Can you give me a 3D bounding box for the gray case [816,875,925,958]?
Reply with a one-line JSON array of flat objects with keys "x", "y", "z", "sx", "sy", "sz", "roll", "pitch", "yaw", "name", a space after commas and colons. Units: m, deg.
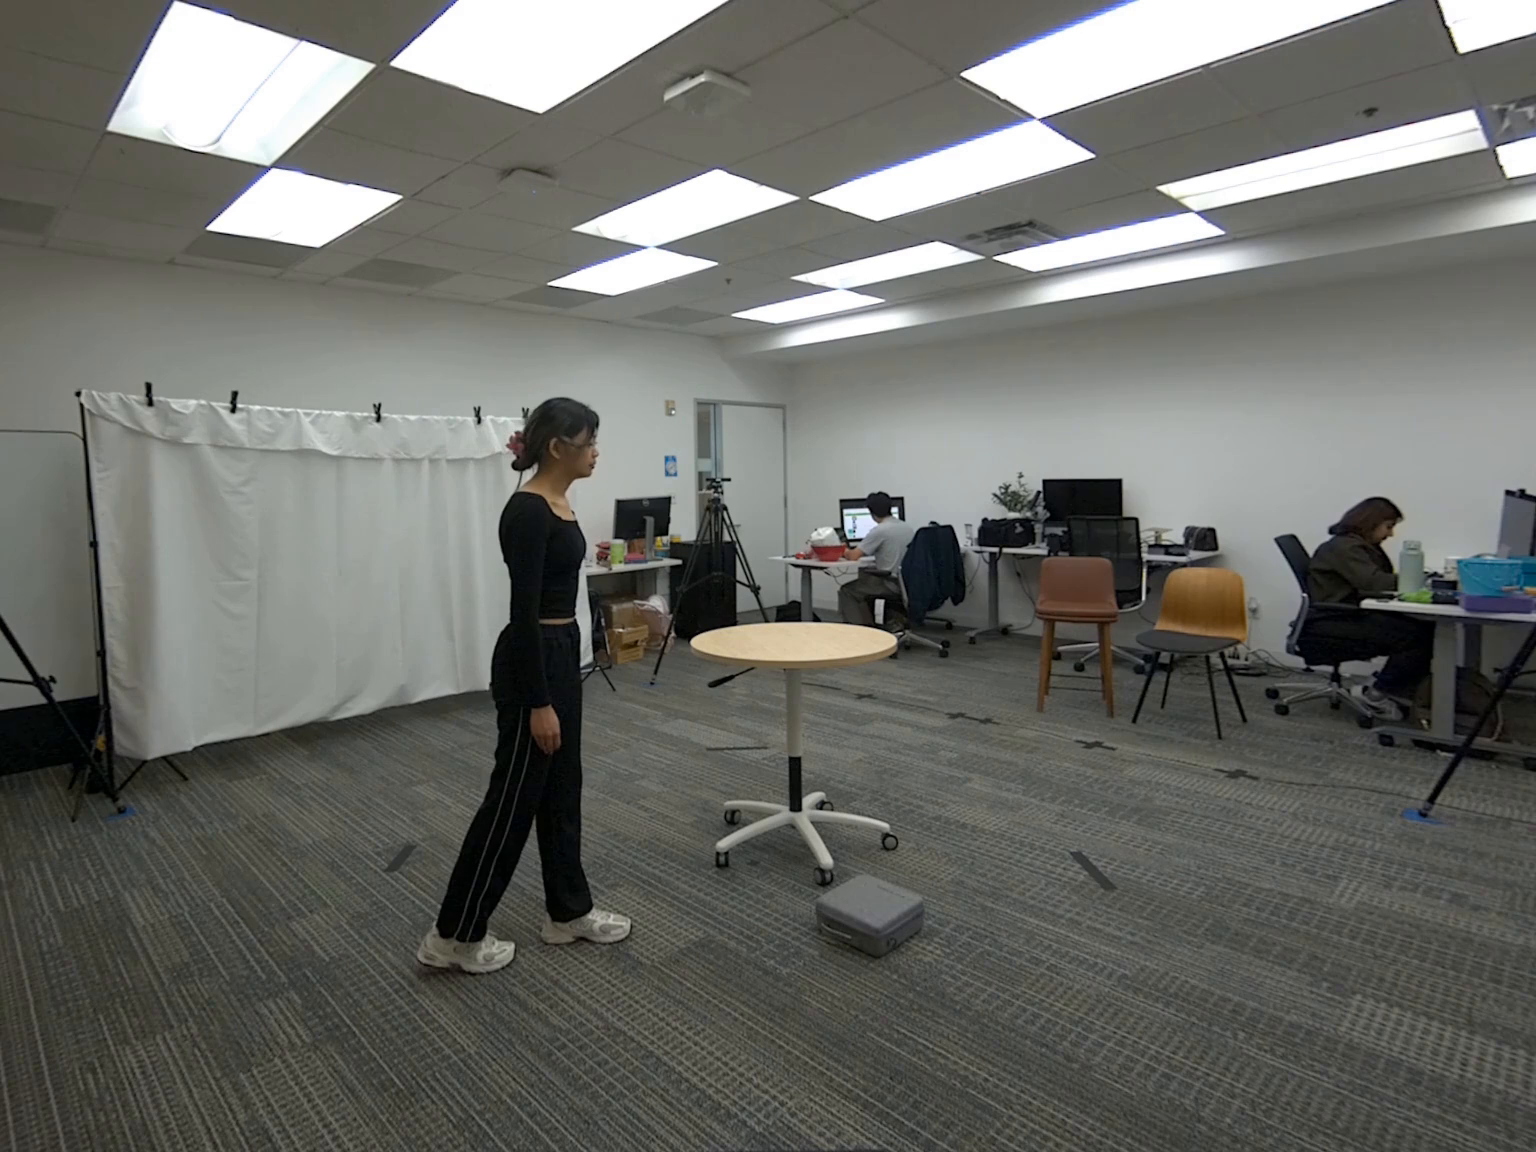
[{"x": 0.318, "y": 1.035, "z": 2.627, "sx": 0.254, "sy": 0.104, "sz": 0.265, "roll": -9, "pitch": 10, "yaw": -44, "name": "gray case"}]
